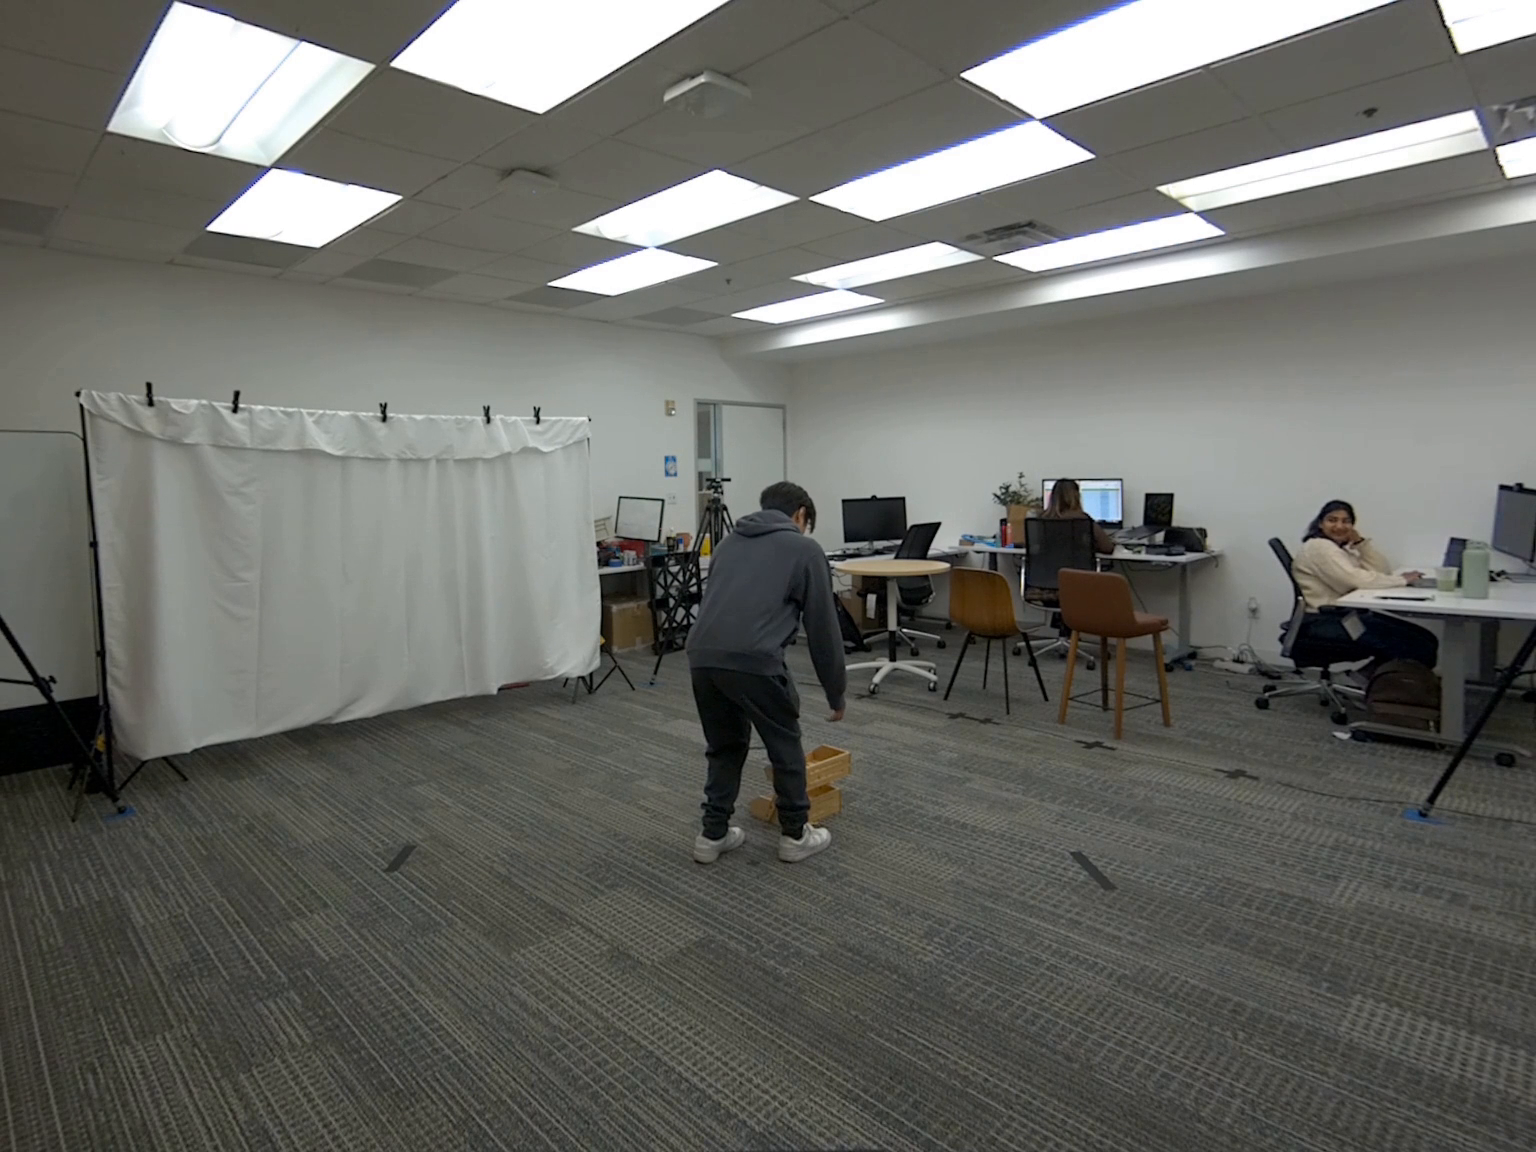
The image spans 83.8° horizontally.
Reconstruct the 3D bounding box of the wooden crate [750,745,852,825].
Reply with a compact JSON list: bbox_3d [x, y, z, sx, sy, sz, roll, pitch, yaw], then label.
[{"bbox_3d":[0.131,0.857,3.548,0.316,0.272,0.311,-7,9,-45],"label":"wooden crate"}]
